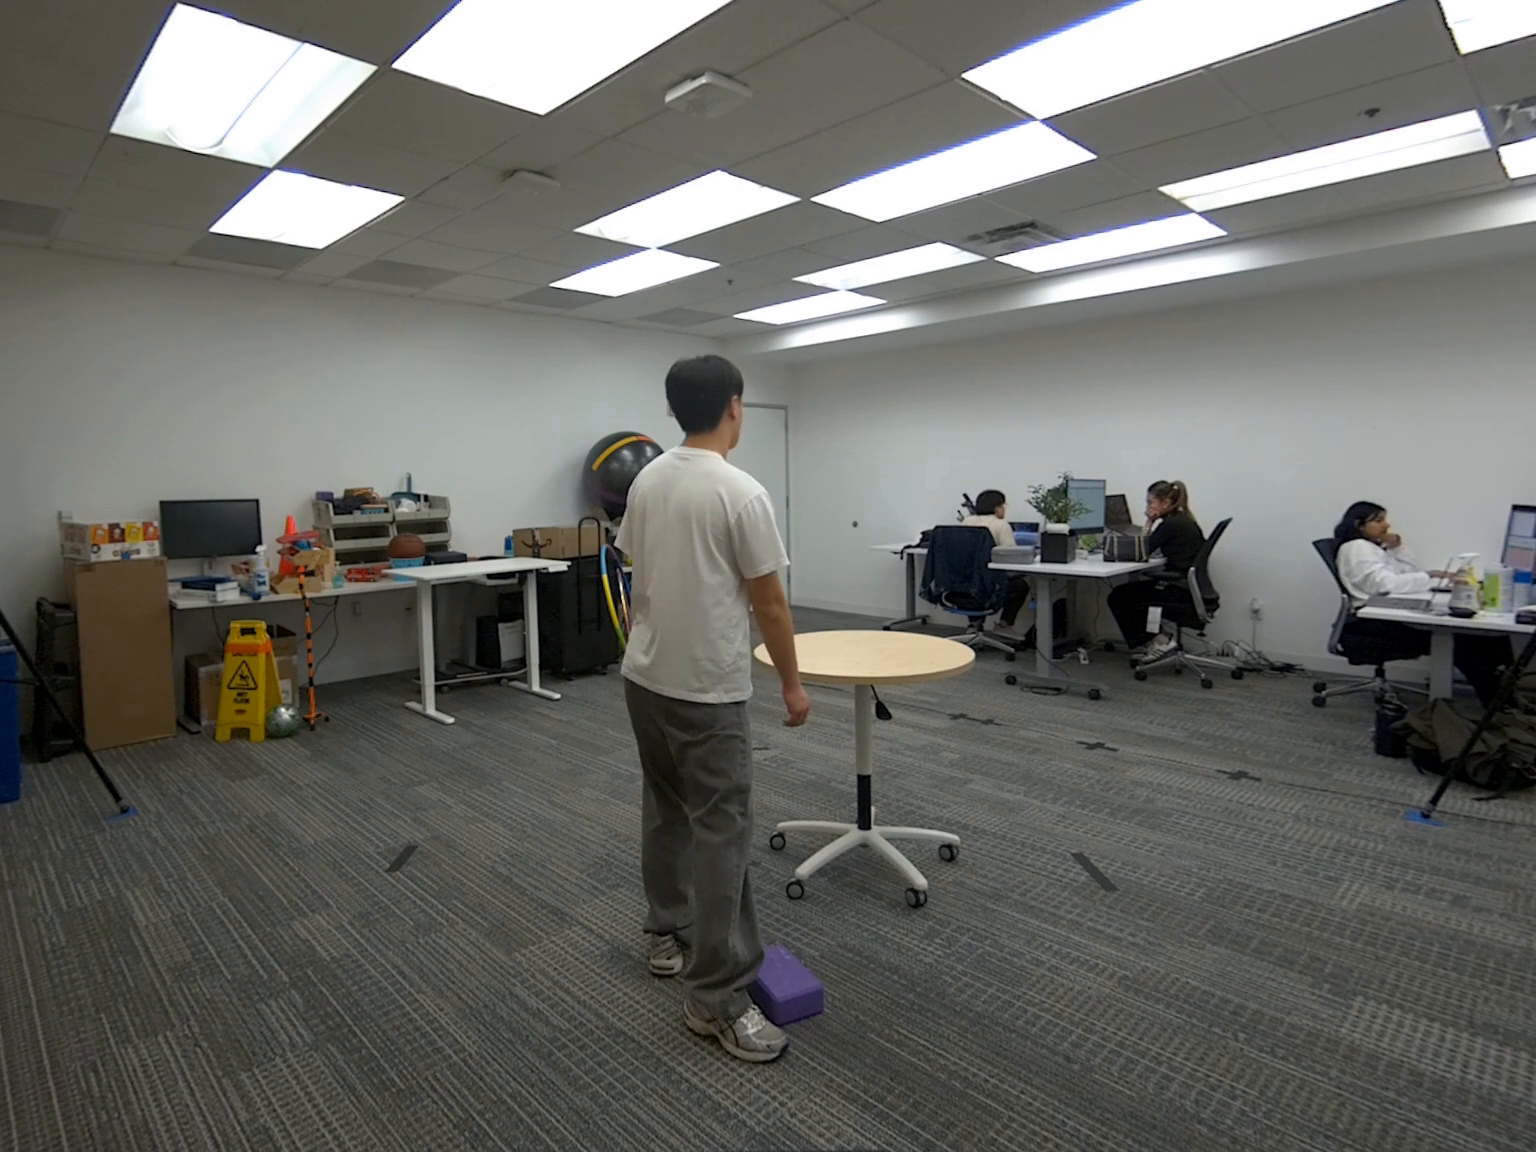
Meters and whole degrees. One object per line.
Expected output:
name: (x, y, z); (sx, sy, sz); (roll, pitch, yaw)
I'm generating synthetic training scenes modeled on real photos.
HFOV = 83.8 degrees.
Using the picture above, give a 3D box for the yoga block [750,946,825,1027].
yoga block: (0.034, 1.095, 2.303); (0.146, 0.076, 0.235); (-4, 7, -27)
